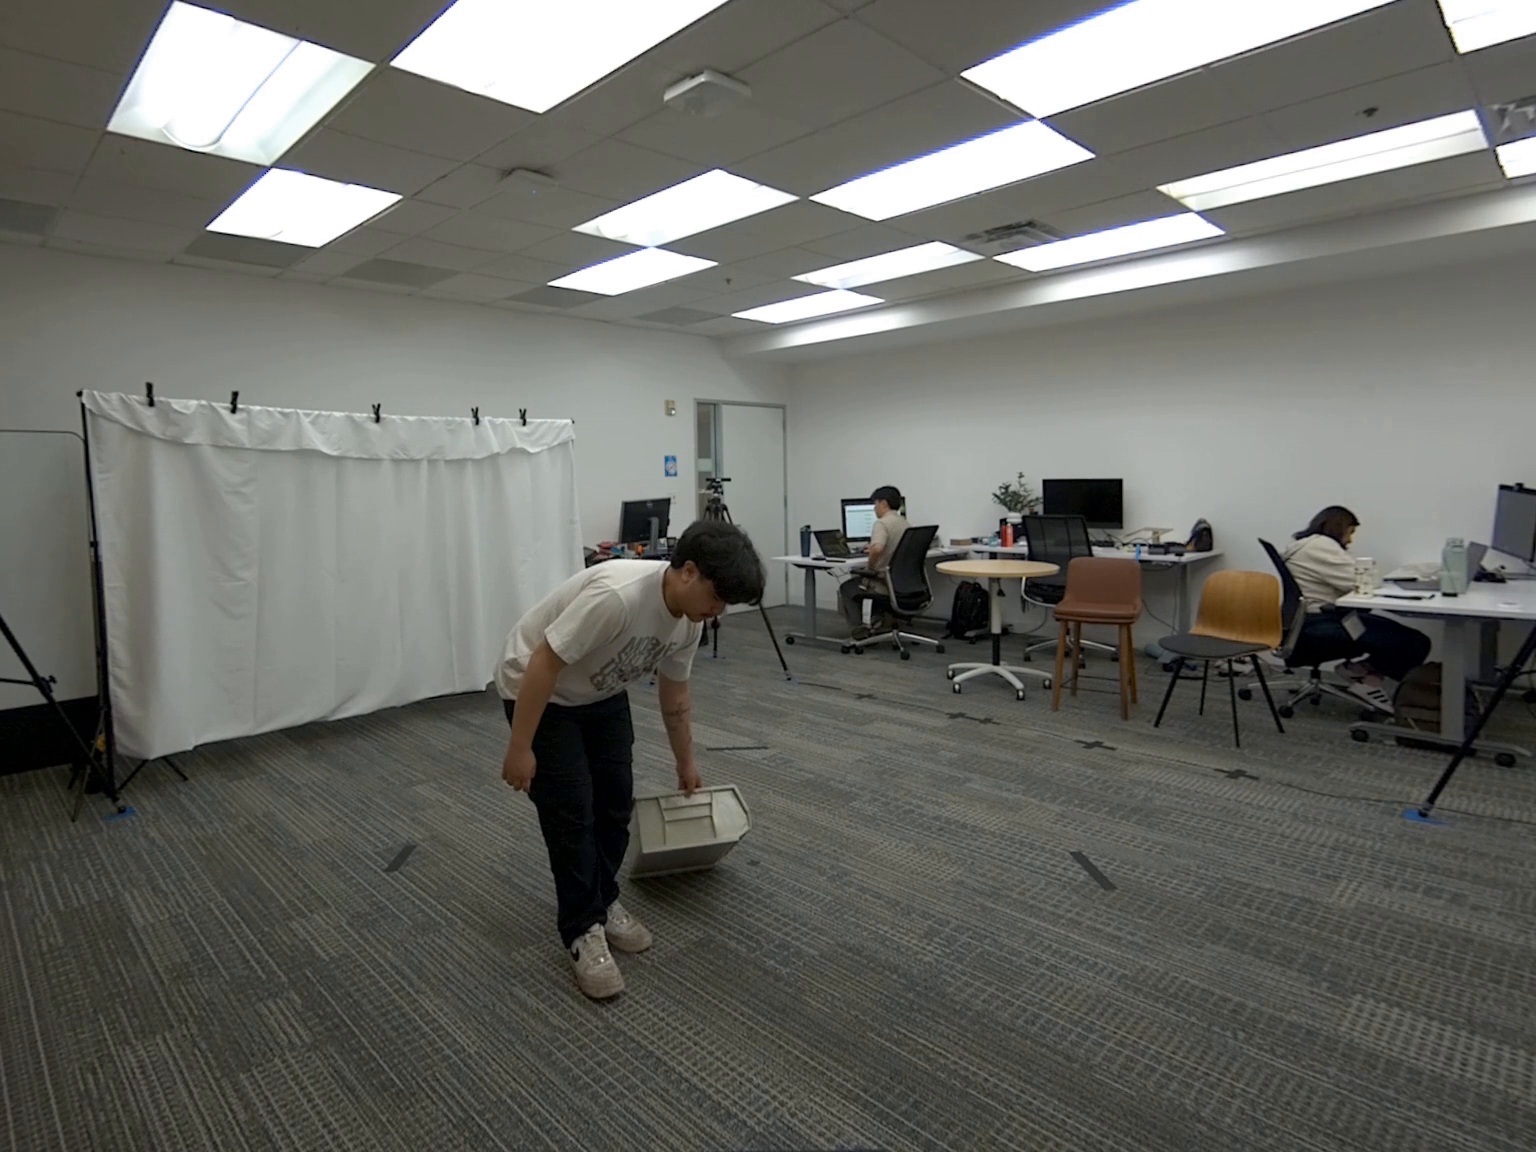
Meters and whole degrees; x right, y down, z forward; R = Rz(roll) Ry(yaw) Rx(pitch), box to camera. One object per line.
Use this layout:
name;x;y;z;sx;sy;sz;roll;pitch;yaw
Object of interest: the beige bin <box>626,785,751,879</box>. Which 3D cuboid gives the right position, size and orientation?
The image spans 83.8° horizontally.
beige bin;-0.287;0.880;2.911;0.372;0.194;0.417;-3;-28;-17
